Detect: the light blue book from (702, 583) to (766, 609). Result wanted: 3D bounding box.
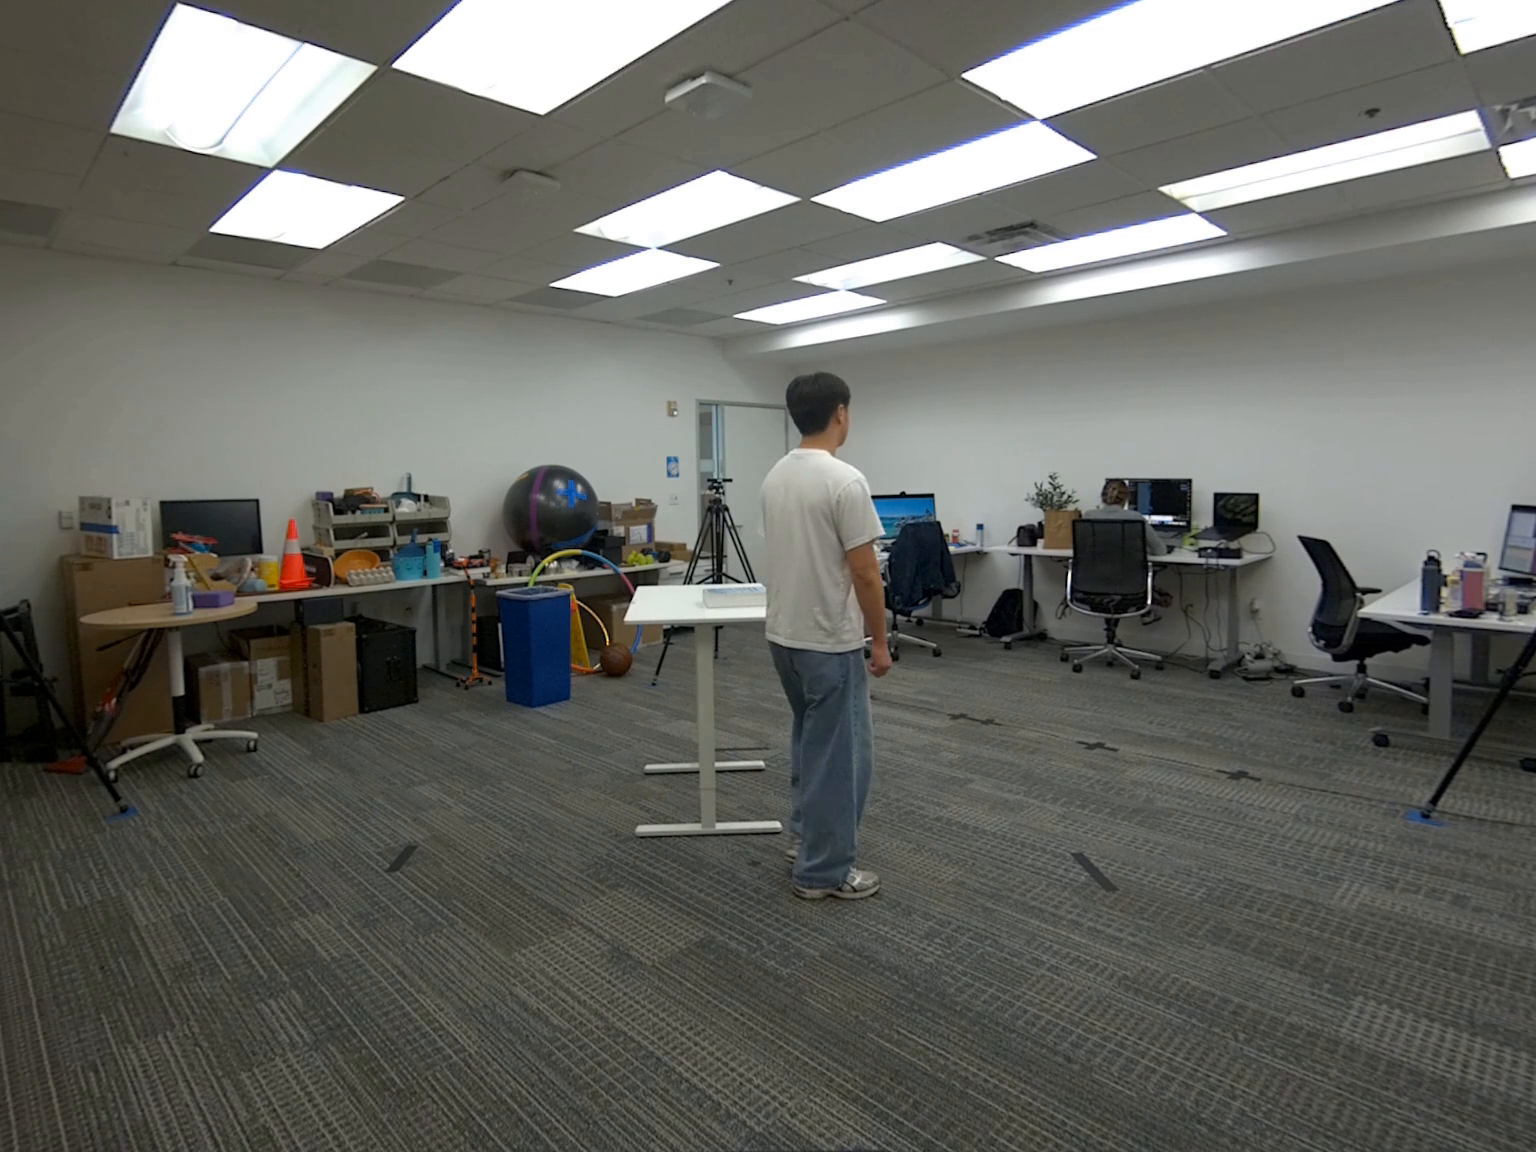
[{"bbox_3d":[-0.128,0.090,3.541,0.259,0.058,0.194,-3,8,-9],"label":"light blue book"}]
